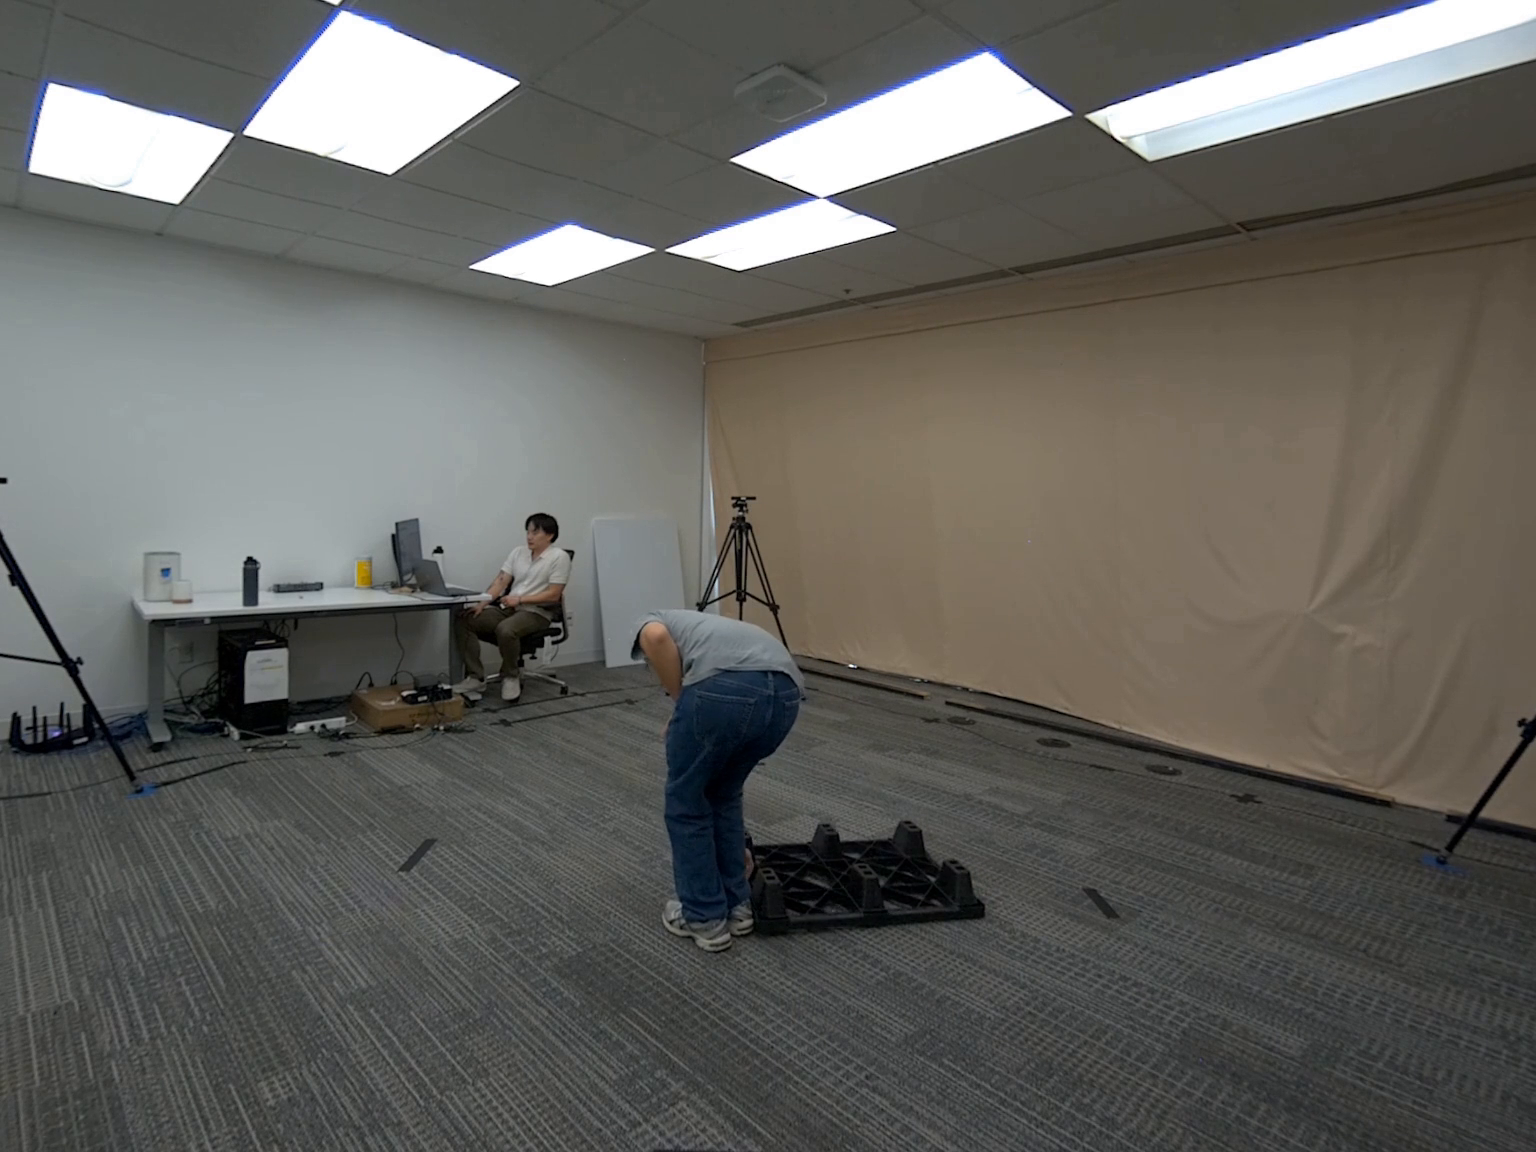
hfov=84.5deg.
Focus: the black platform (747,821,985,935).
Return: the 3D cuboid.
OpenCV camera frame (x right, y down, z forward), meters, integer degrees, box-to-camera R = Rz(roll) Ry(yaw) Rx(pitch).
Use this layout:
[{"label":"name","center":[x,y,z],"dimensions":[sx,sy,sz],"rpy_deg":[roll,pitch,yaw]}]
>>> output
[{"label":"black platform","center":[0.267,1.045,3.025],"dimensions":[0.796,0.143,0.614],"rpy_deg":[1,5,-15]}]
